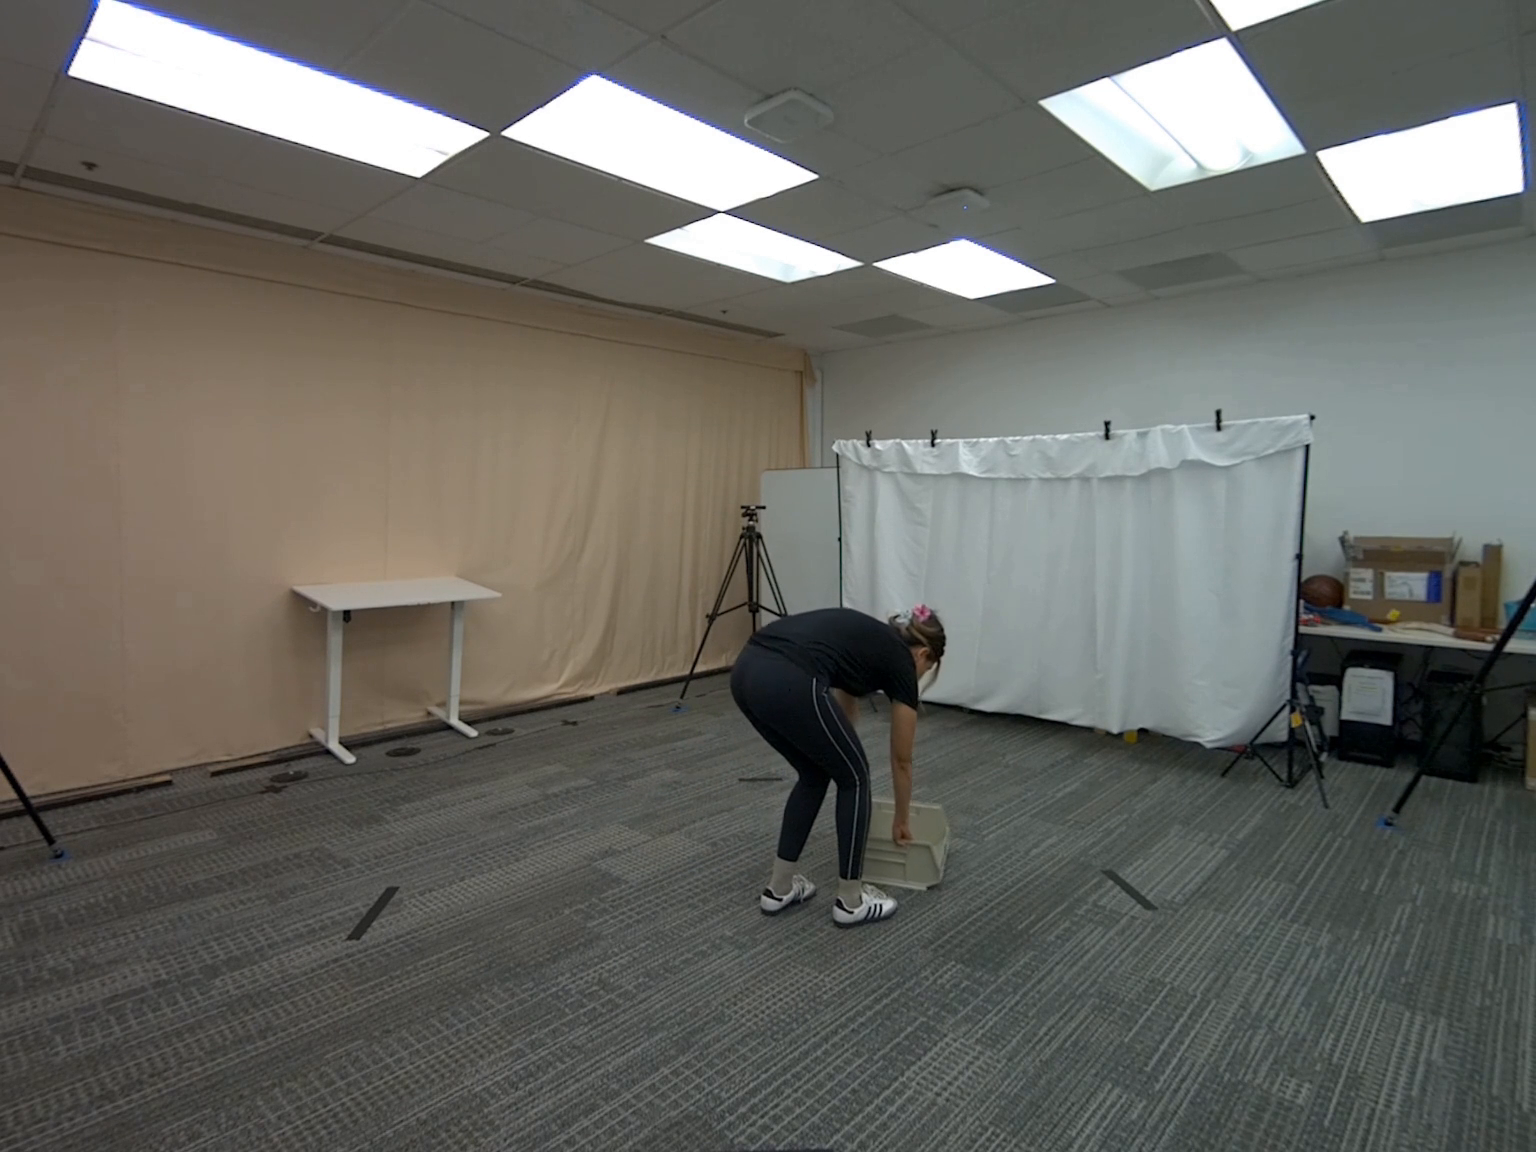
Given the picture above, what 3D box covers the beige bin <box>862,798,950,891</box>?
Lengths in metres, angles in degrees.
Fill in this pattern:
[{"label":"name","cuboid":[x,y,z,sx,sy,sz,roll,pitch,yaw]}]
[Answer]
[{"label":"beige bin","cuboid":[0.502,1.030,3.274,0.385,0.188,0.415,0,5,18]}]
